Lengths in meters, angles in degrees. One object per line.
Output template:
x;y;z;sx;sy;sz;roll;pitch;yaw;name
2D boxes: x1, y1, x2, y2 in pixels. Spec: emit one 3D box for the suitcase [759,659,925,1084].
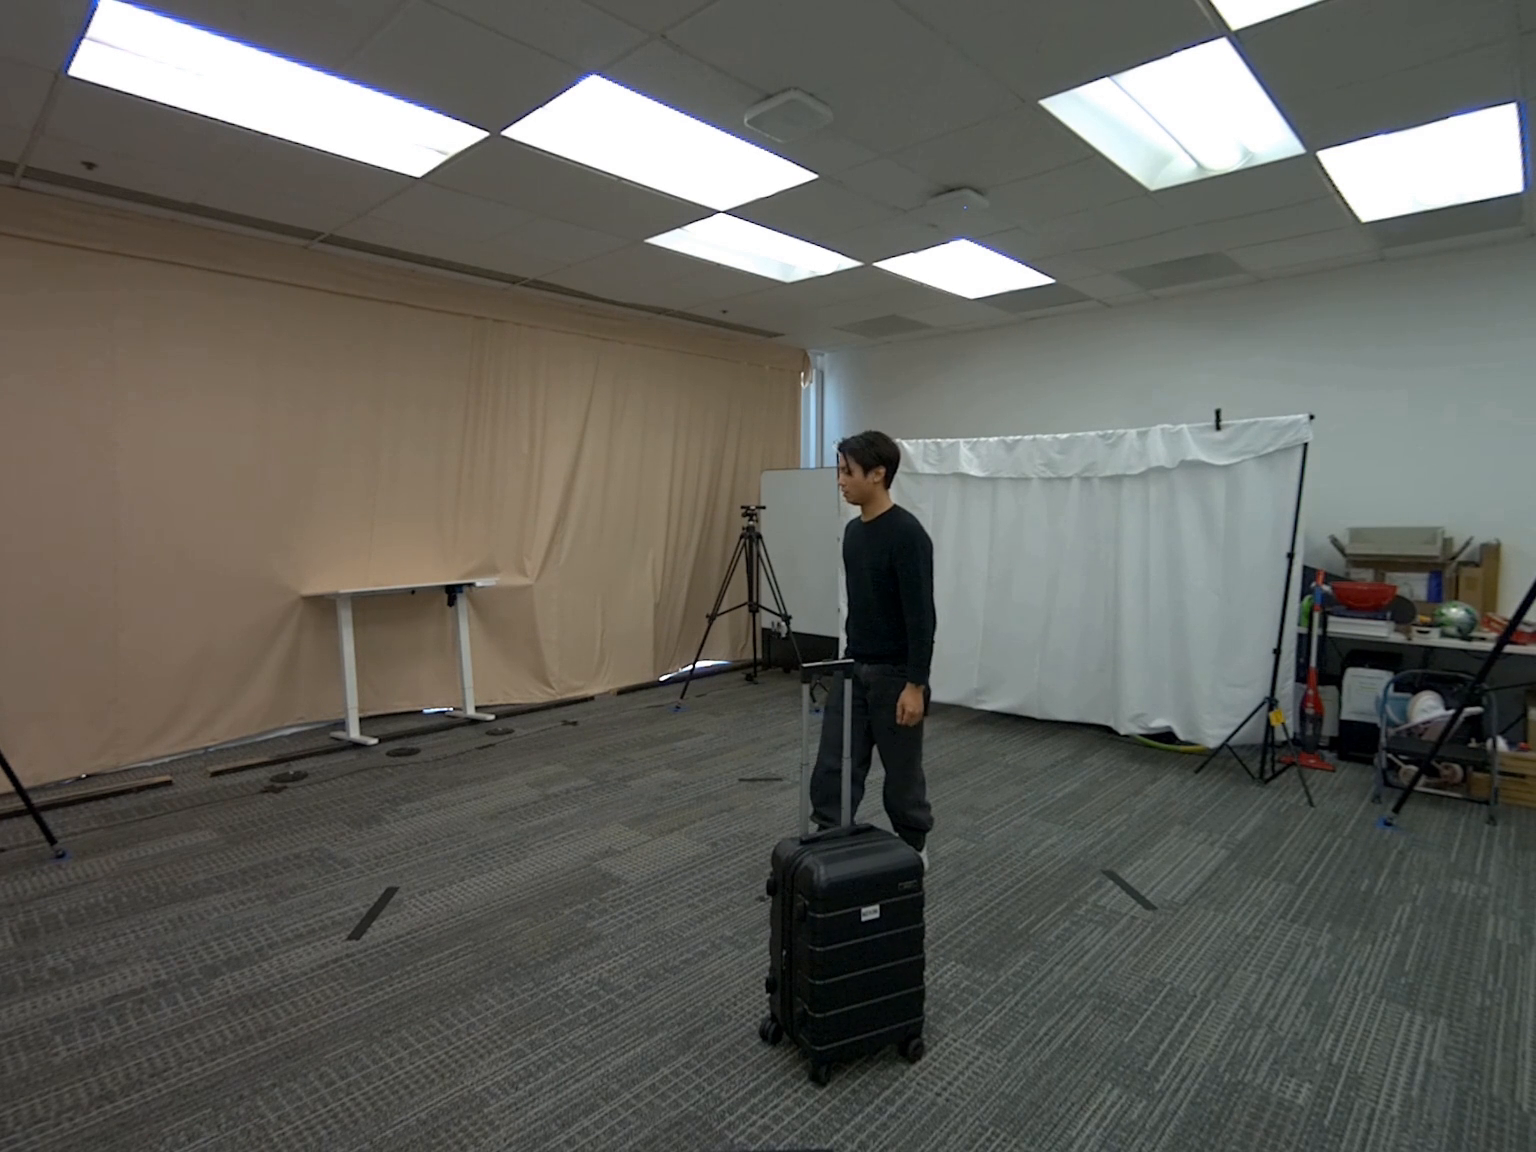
0.208;0.737;2.142;0.375;0.976;0.264;0;4;-25;suitcase
